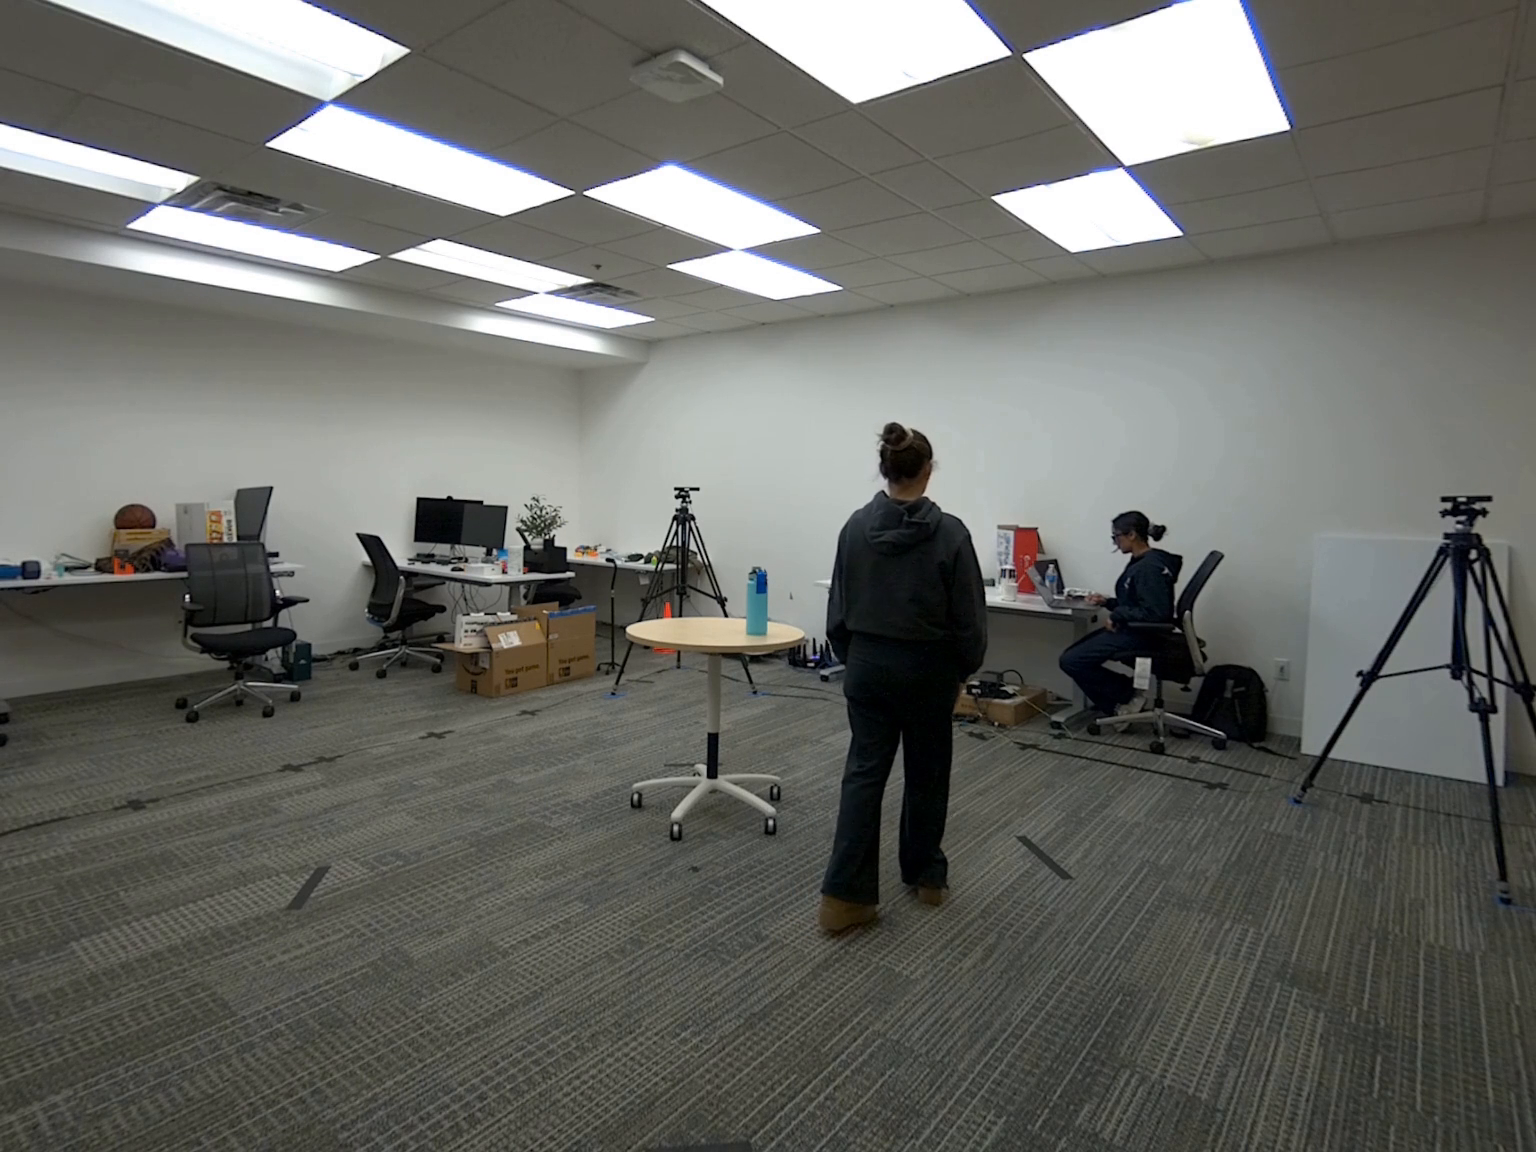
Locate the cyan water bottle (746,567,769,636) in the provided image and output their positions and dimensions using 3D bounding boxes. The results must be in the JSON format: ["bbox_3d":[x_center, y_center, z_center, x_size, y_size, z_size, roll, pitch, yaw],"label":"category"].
[{"bbox_3d":[-0.050,0.101,3.575,0.092,0.282,0.093,2,4,-2],"label":"cyan water bottle"}]
